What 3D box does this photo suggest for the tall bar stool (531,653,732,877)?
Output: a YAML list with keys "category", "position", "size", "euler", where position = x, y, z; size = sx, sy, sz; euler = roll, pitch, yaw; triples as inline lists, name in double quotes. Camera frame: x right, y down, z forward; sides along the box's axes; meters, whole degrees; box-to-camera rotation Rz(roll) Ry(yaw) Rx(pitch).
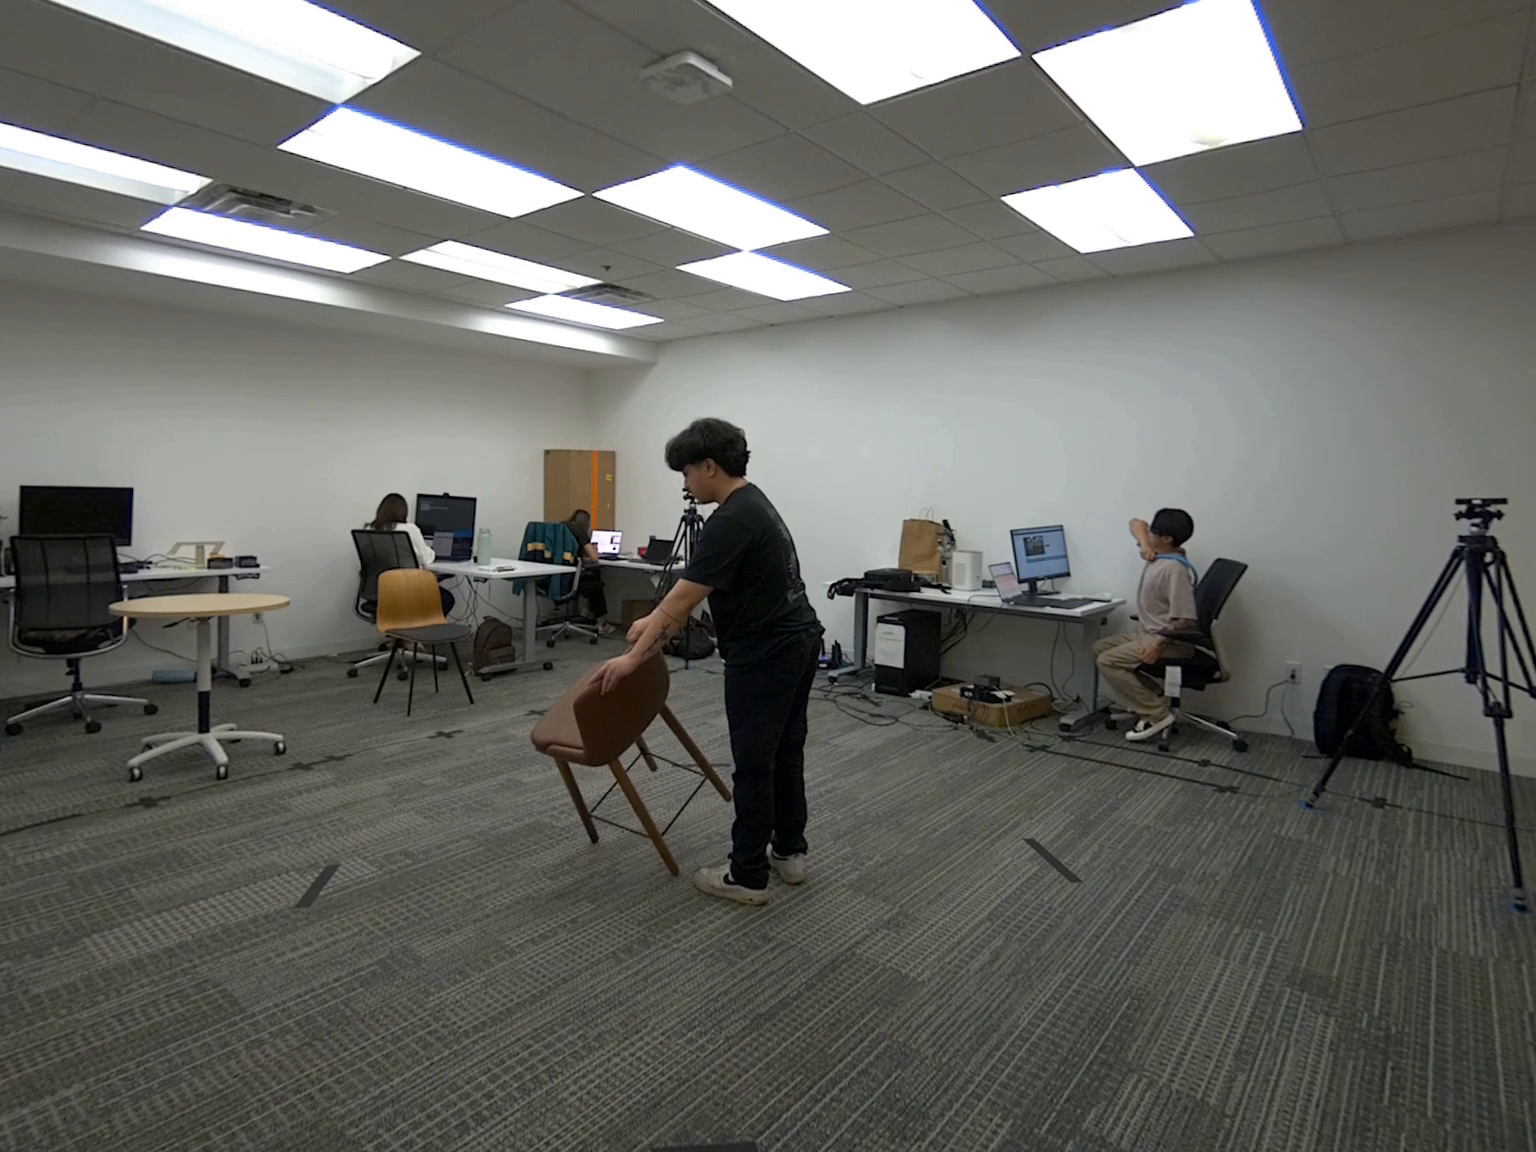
- category: "tall bar stool"
  position: [-0.548, 0.599, 3.106]
  size: [0.484, 0.861, 0.455]
  euler: [8, 40, 38]
